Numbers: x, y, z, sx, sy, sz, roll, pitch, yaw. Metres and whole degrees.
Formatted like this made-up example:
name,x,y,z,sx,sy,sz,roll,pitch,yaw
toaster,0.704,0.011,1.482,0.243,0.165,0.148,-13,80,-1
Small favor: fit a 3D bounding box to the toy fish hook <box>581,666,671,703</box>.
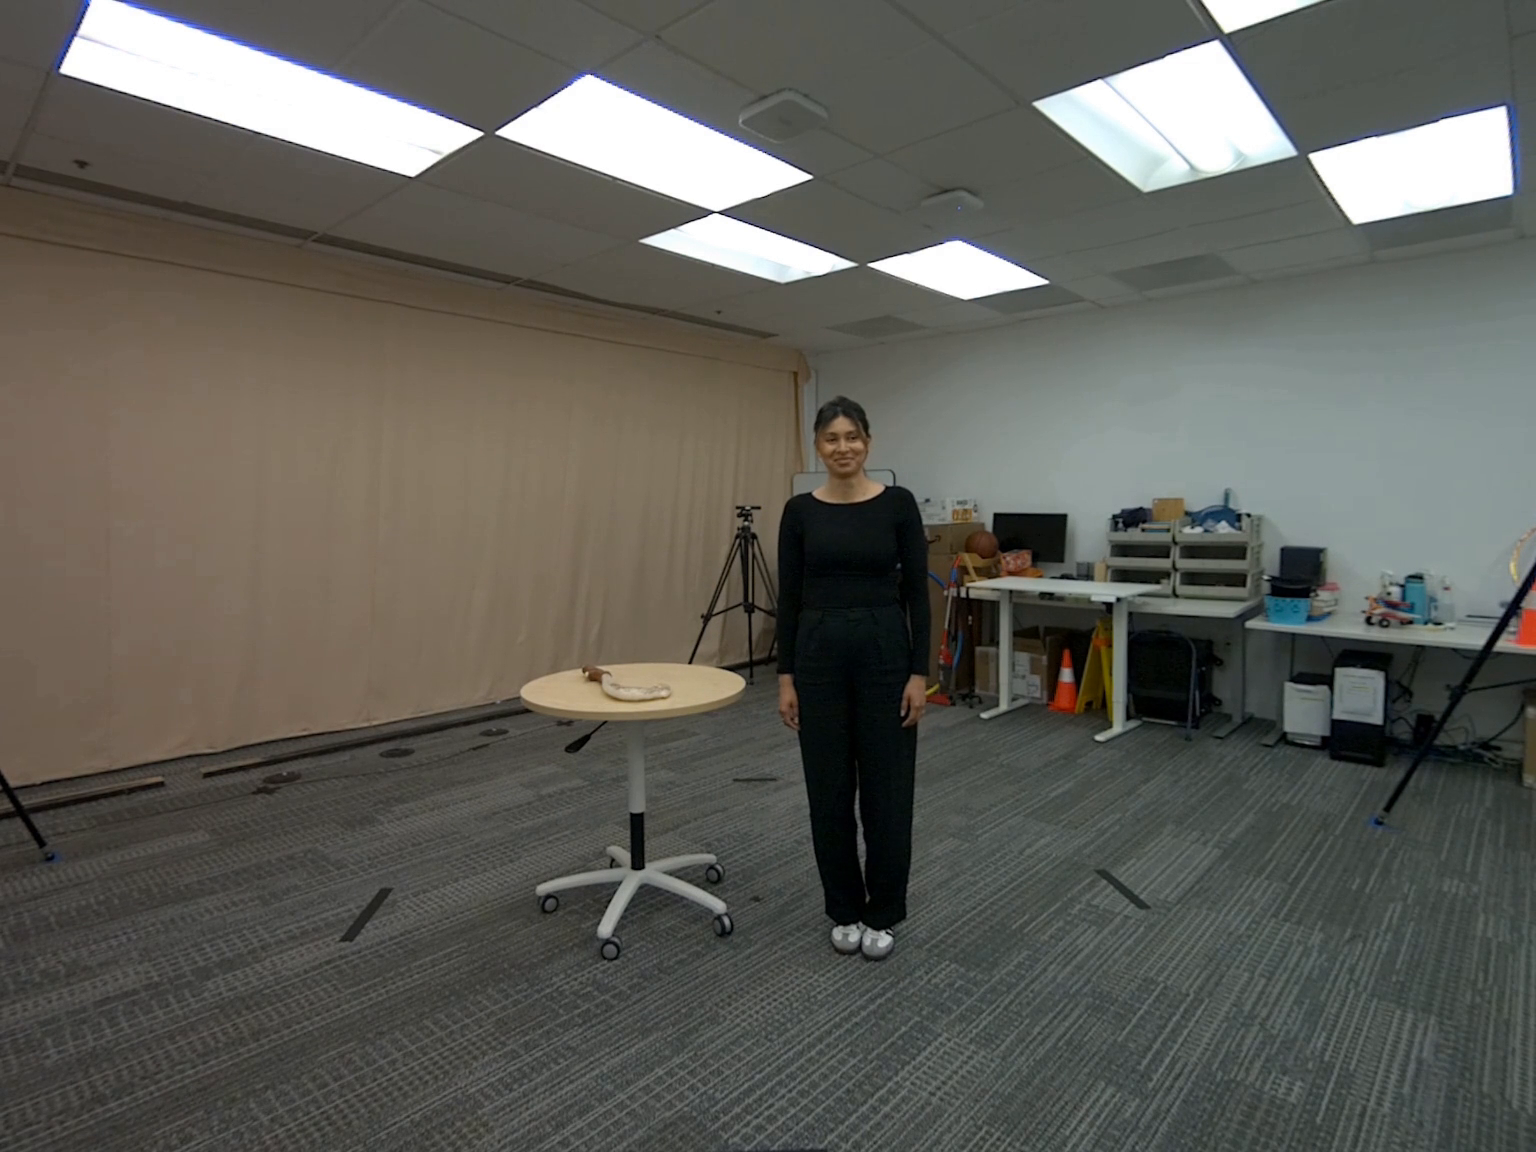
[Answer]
name,x,y,z,sx,sy,sz,roll,pitch,yaw
toy fish hook,-0.487,0.366,2.858,0.218,0.048,0.521,7,1,-30
